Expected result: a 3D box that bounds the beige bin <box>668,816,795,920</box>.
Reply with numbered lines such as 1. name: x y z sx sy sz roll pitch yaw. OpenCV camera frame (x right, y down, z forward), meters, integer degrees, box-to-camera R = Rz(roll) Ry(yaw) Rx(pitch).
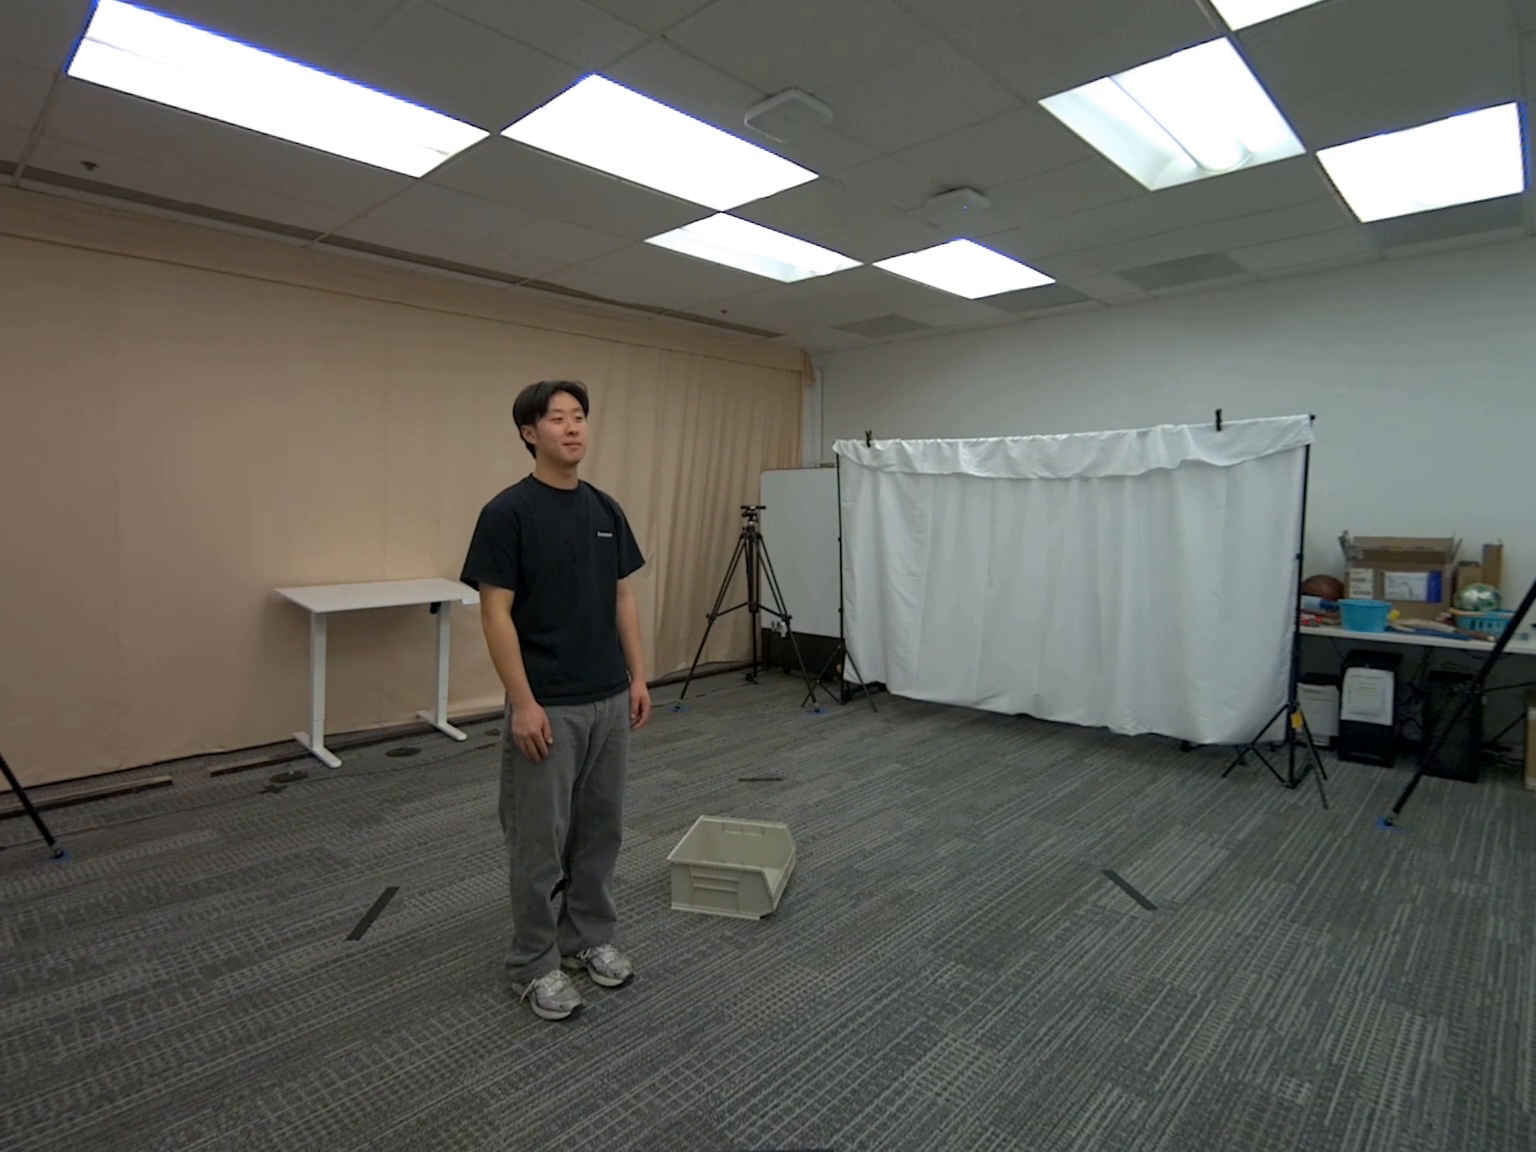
1. beige bin: -0.118 1.050 3.054 0.383 0.188 0.417 0 5 13
